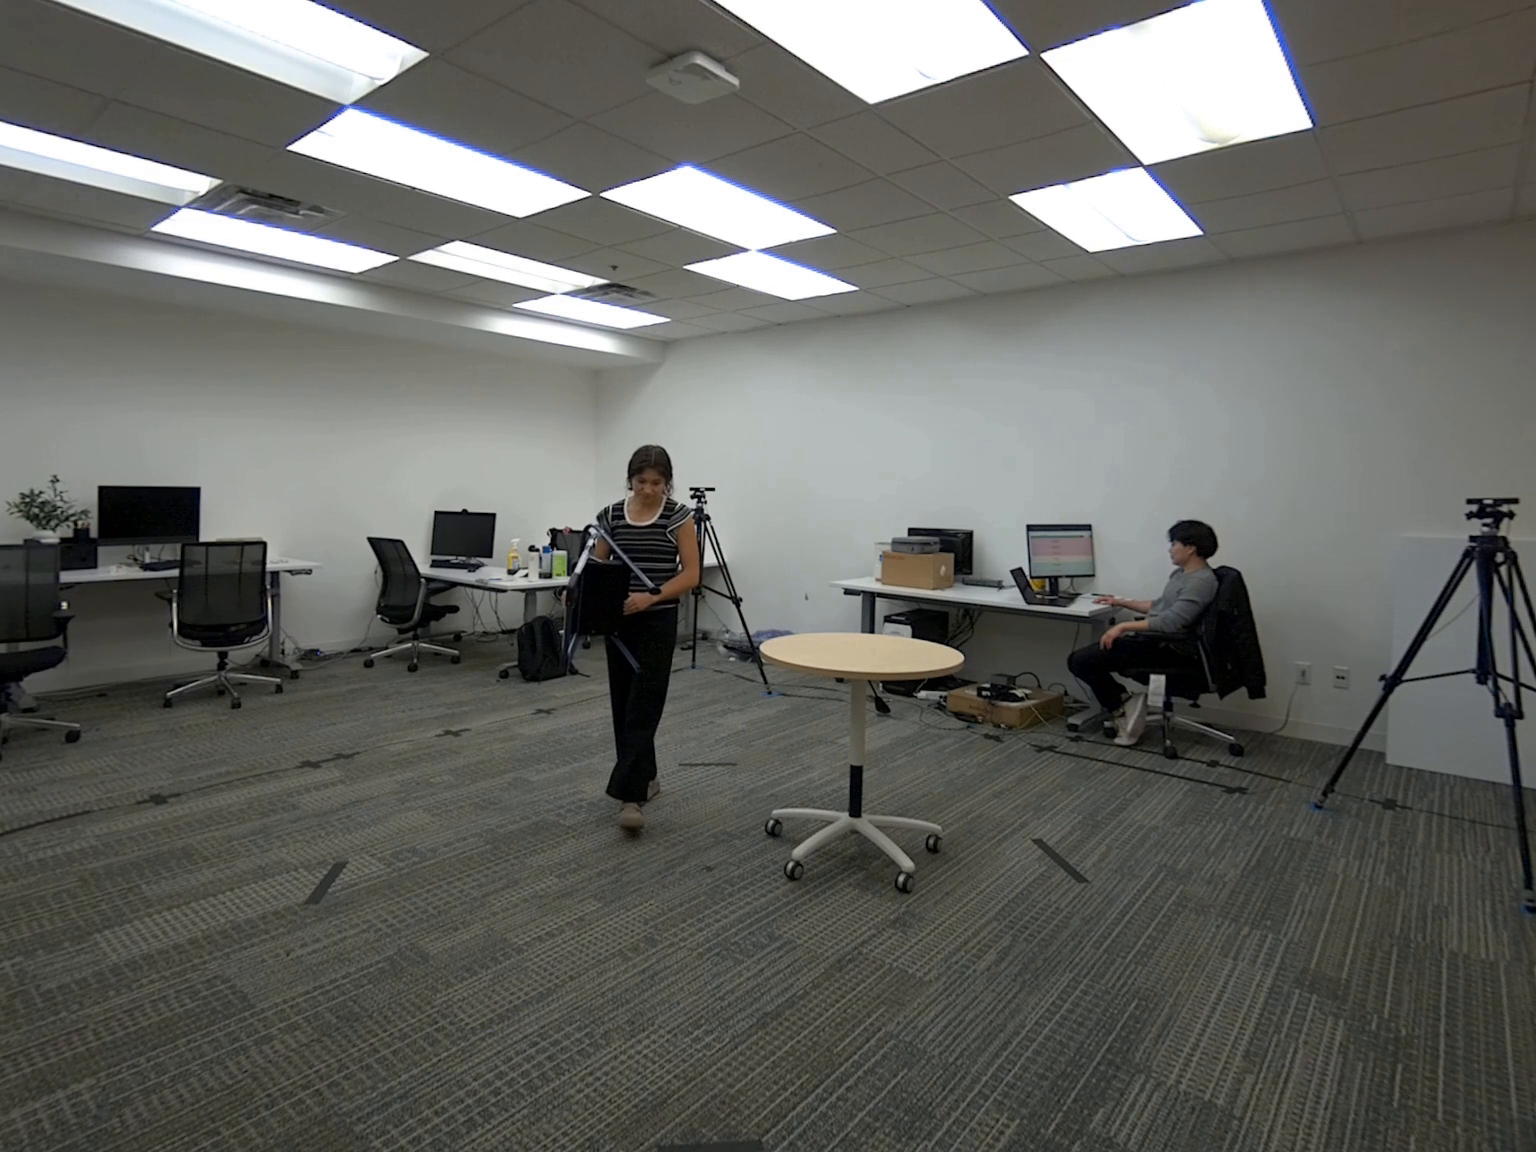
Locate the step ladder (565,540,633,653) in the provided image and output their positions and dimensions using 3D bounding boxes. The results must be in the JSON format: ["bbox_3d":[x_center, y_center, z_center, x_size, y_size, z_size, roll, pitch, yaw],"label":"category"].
[{"bbox_3d":[-0.700,0.056,3.529,0.343,0.423,0.628,2,29,-18],"label":"step ladder"}]
